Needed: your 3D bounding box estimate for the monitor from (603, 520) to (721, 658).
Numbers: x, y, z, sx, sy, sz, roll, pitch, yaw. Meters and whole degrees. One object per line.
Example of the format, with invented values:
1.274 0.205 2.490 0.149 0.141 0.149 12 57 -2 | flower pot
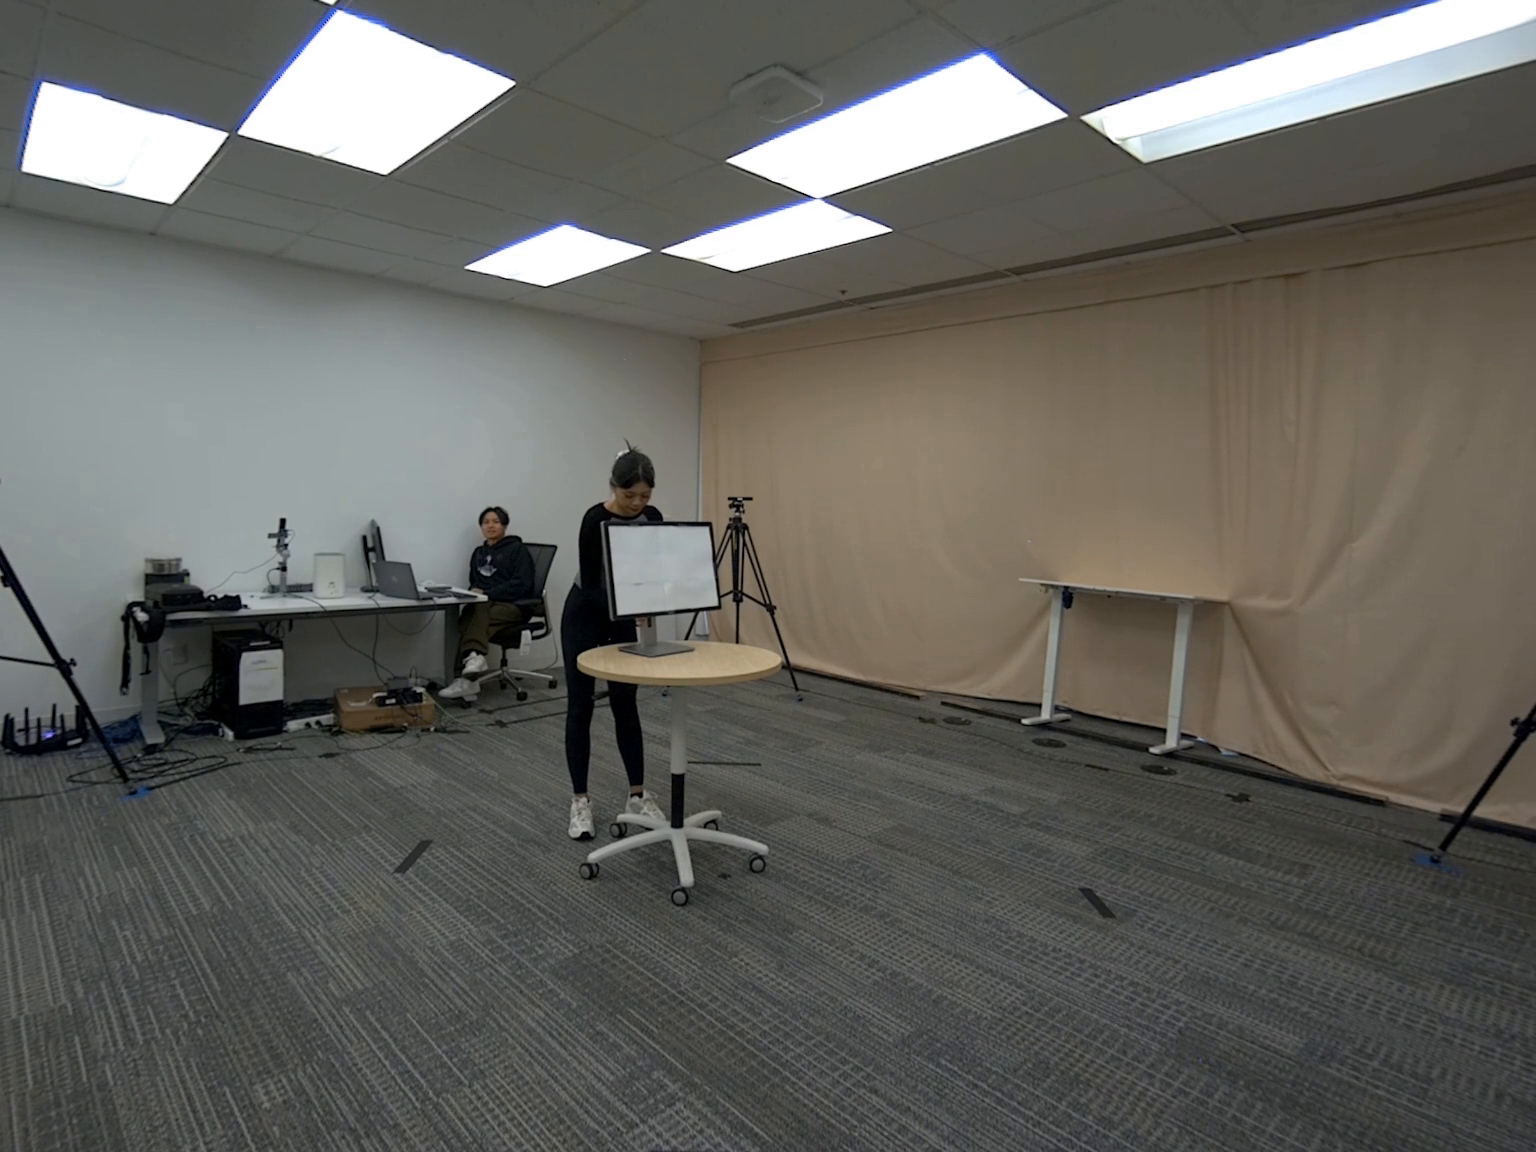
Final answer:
-0.434 0.047 3.286 0.179 0.514 0.517 14 9 40 | monitor
